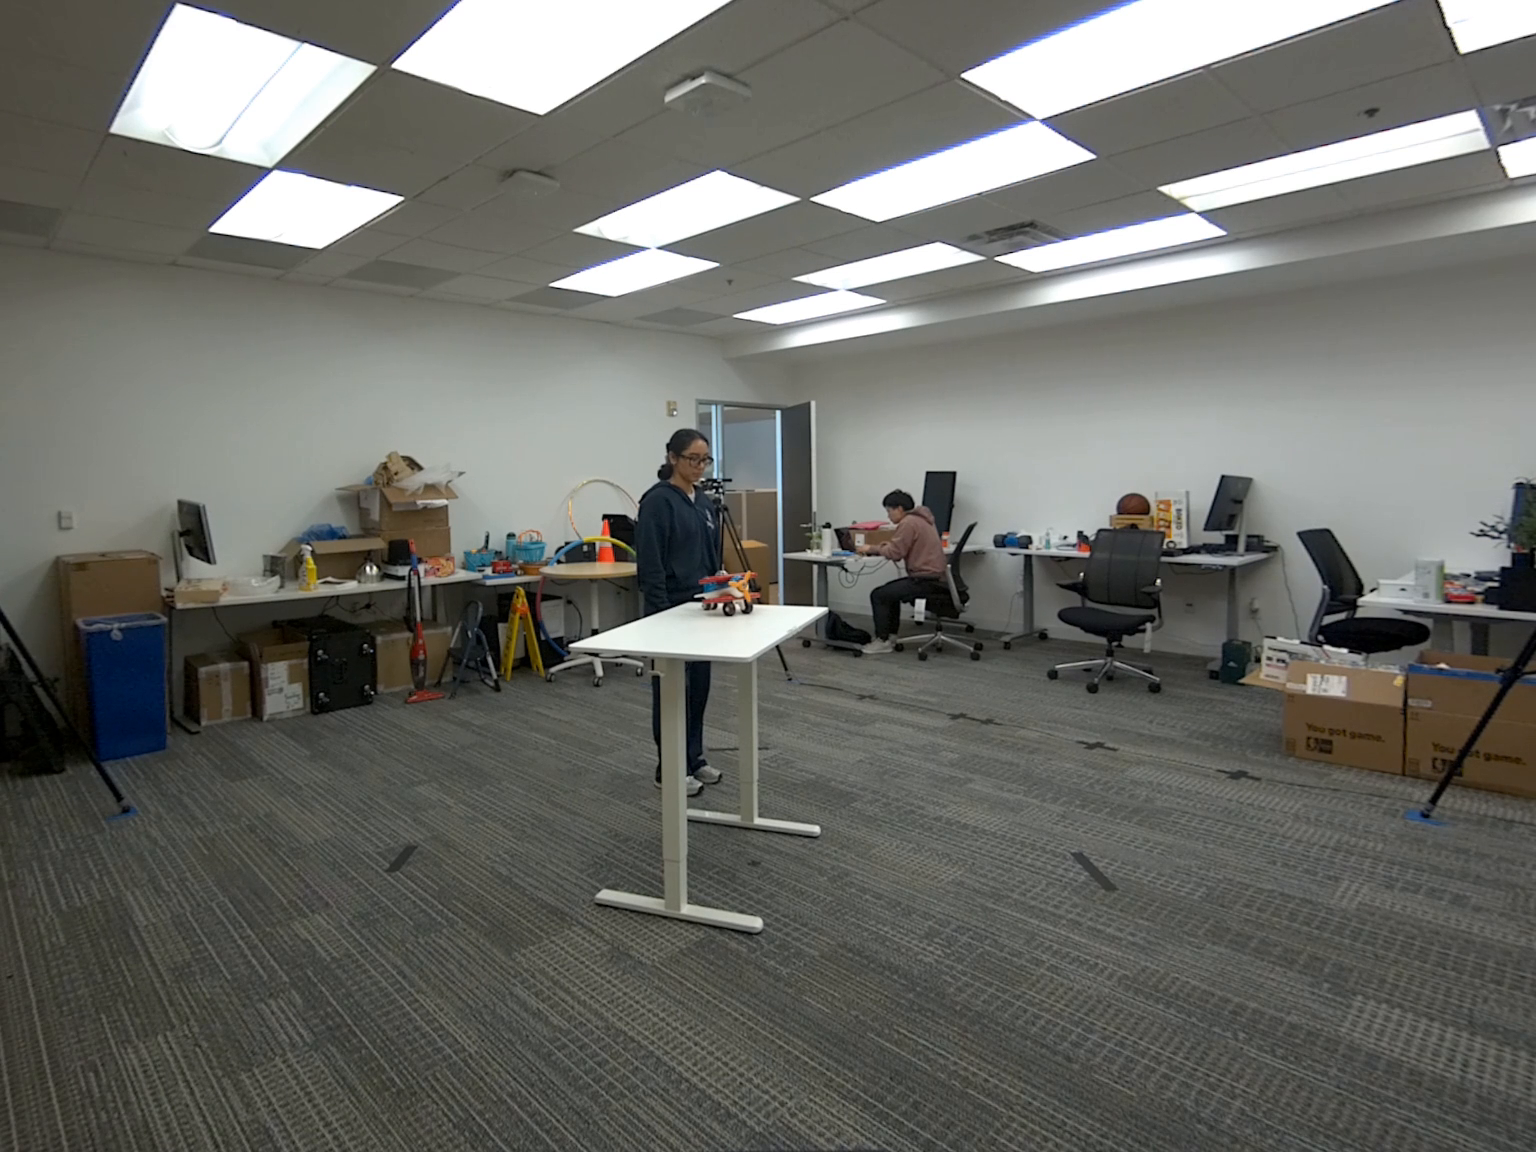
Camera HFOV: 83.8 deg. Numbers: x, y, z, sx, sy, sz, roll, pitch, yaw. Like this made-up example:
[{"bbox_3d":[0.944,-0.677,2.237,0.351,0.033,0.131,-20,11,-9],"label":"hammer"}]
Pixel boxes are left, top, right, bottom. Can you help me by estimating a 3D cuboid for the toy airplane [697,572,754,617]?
[{"bbox_3d":[-0.175,0.071,3.289,0.265,0.156,0.247,2,7,23],"label":"toy airplane"}]
